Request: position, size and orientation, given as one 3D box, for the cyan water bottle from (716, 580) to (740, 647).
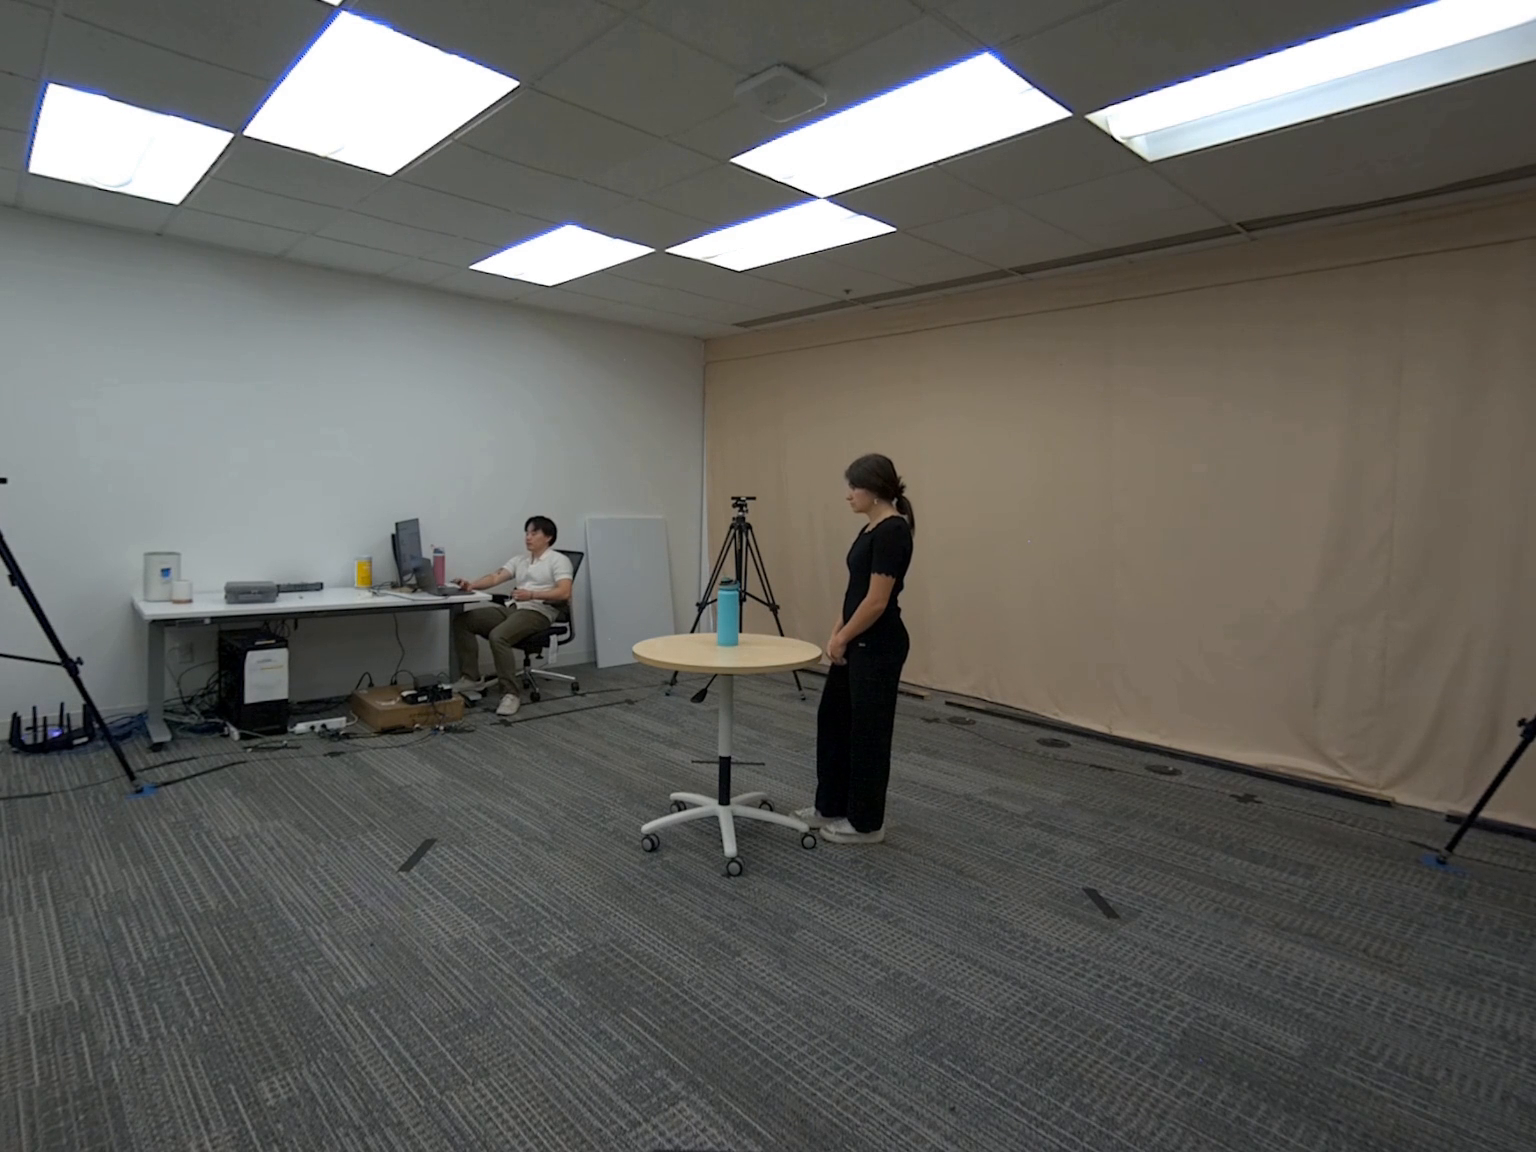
[{"bbox_3d":[-0.168,0.145,3.495,0.092,0.283,0.092,3,2,-2],"label":"cyan water bottle"}]
